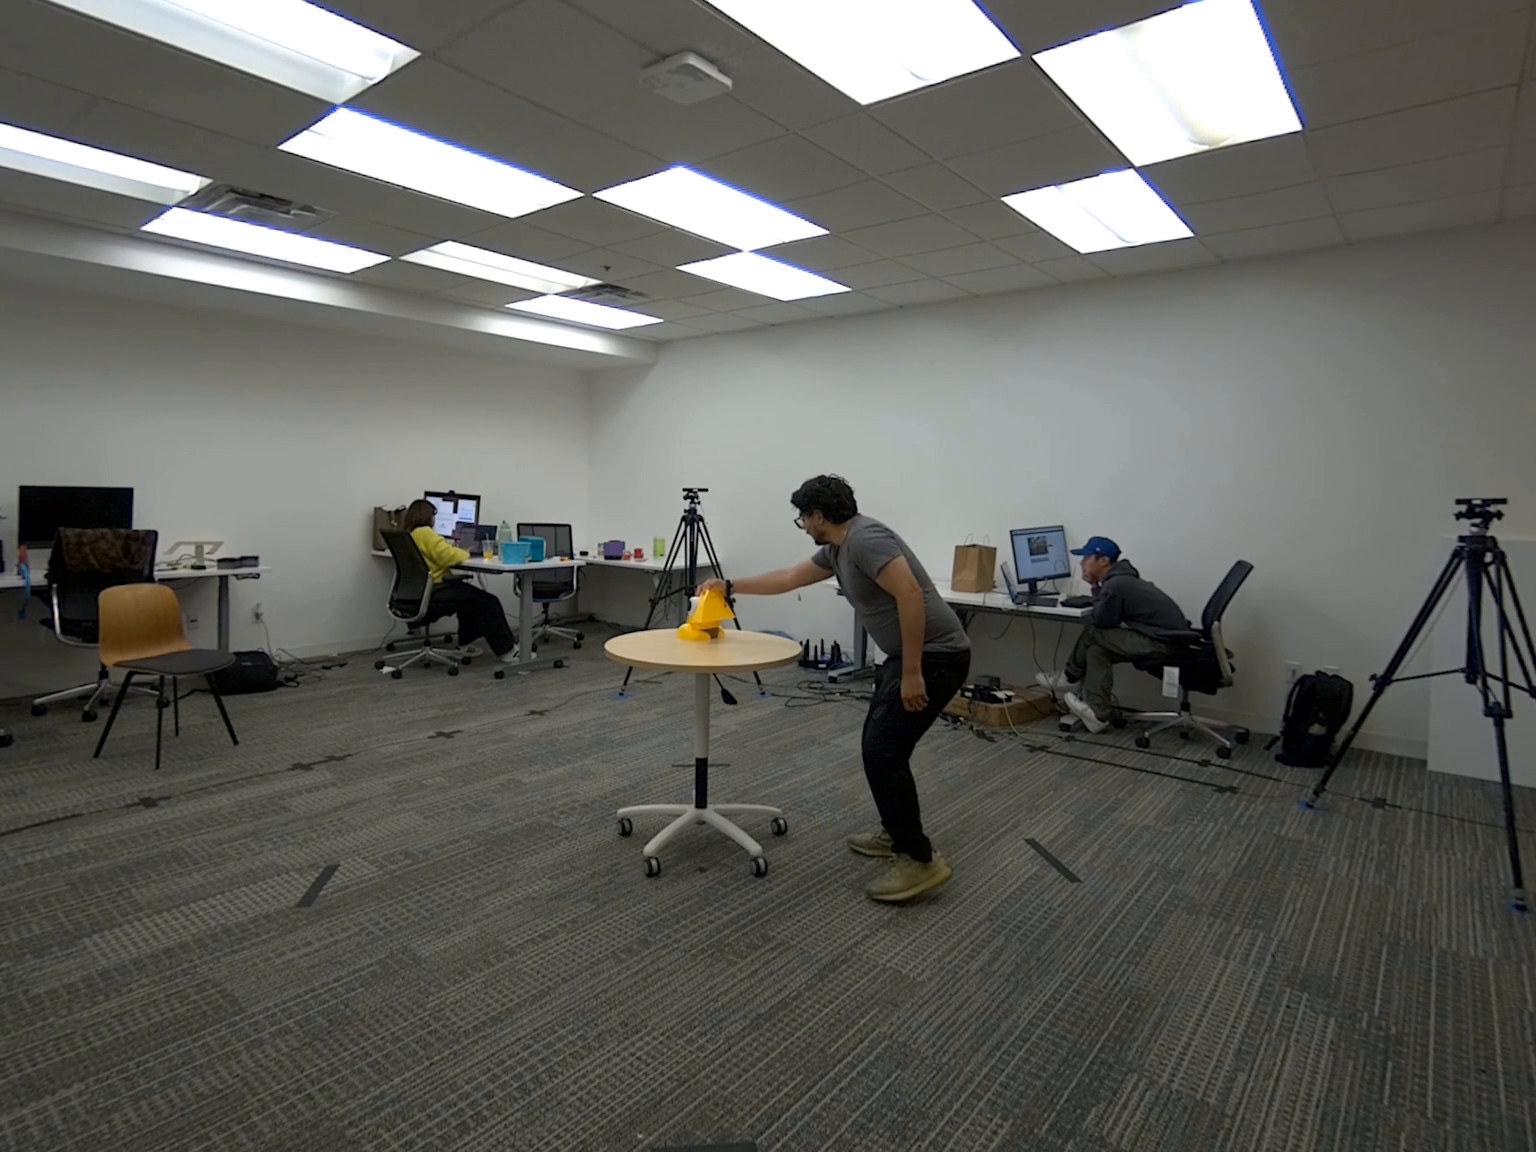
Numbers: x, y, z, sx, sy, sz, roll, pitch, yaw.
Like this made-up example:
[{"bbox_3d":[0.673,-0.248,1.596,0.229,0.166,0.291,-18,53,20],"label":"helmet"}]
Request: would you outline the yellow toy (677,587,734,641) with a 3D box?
[{"bbox_3d":[-0.281,0.132,3.500,0.199,0.230,0.199,3,5,40],"label":"yellow toy"}]
